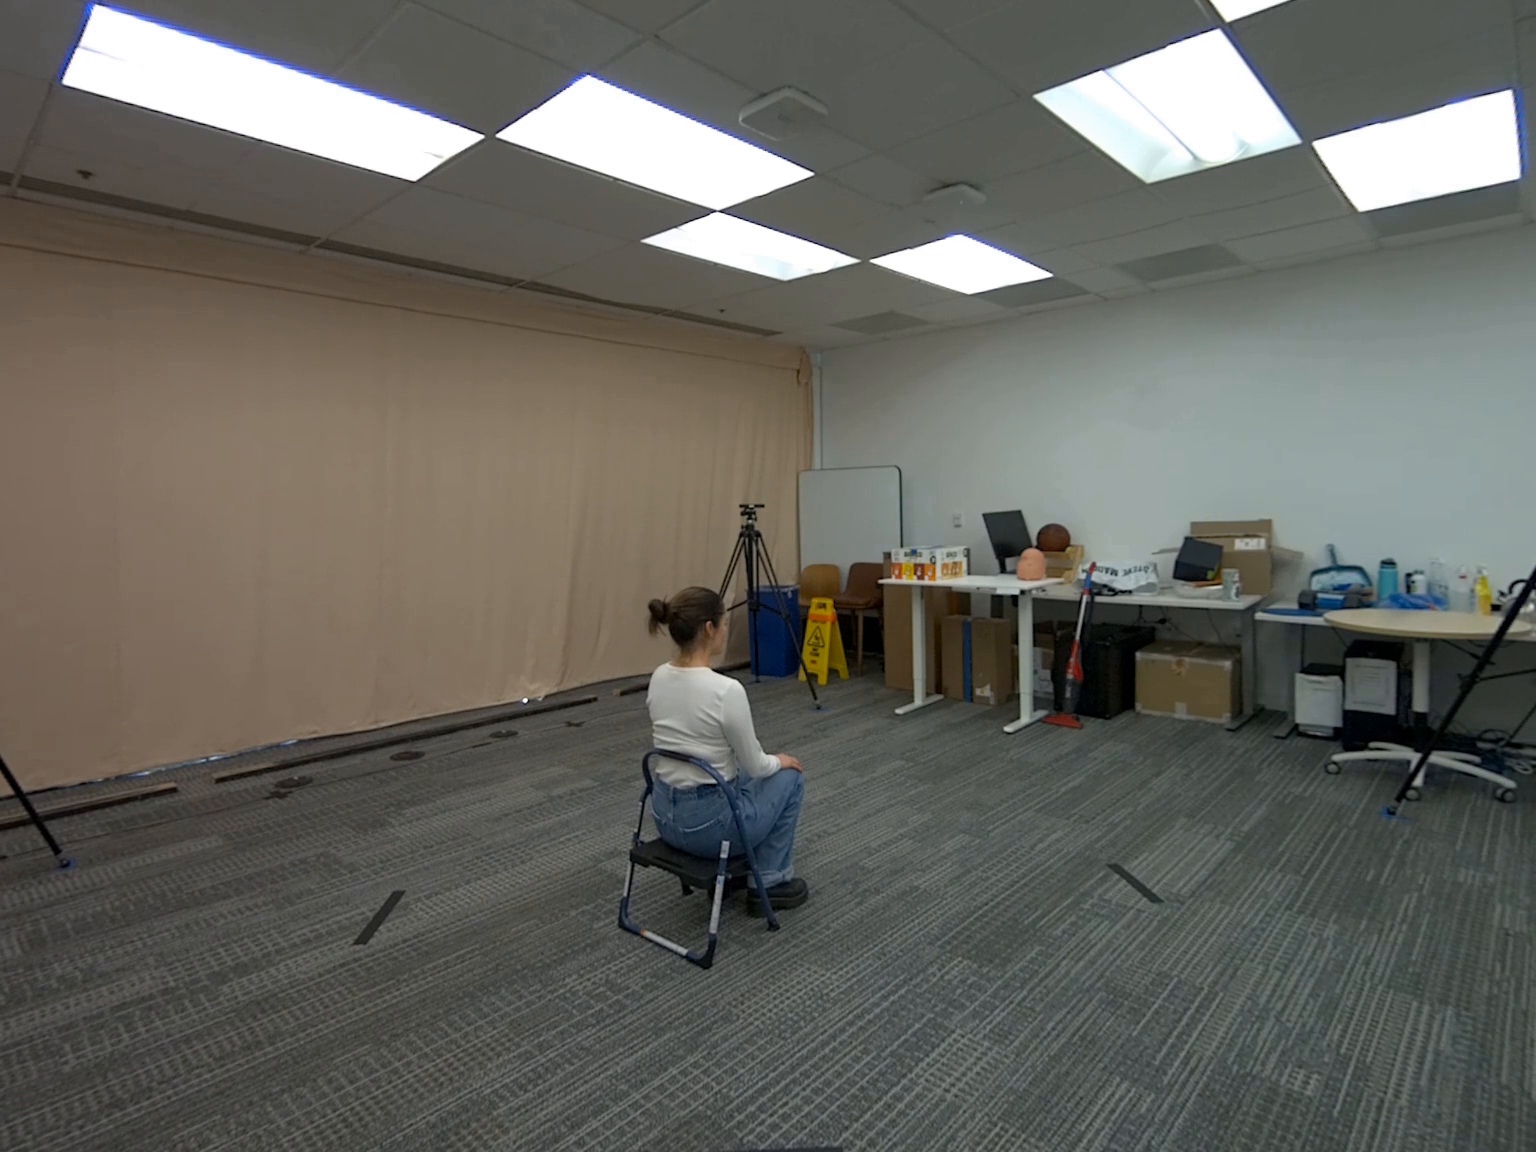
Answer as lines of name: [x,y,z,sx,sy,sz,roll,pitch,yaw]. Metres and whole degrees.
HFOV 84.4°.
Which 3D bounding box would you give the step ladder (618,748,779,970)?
step ladder: [-0.241,0.858,2.766,0.445,0.605,0.339,1,4,40]
